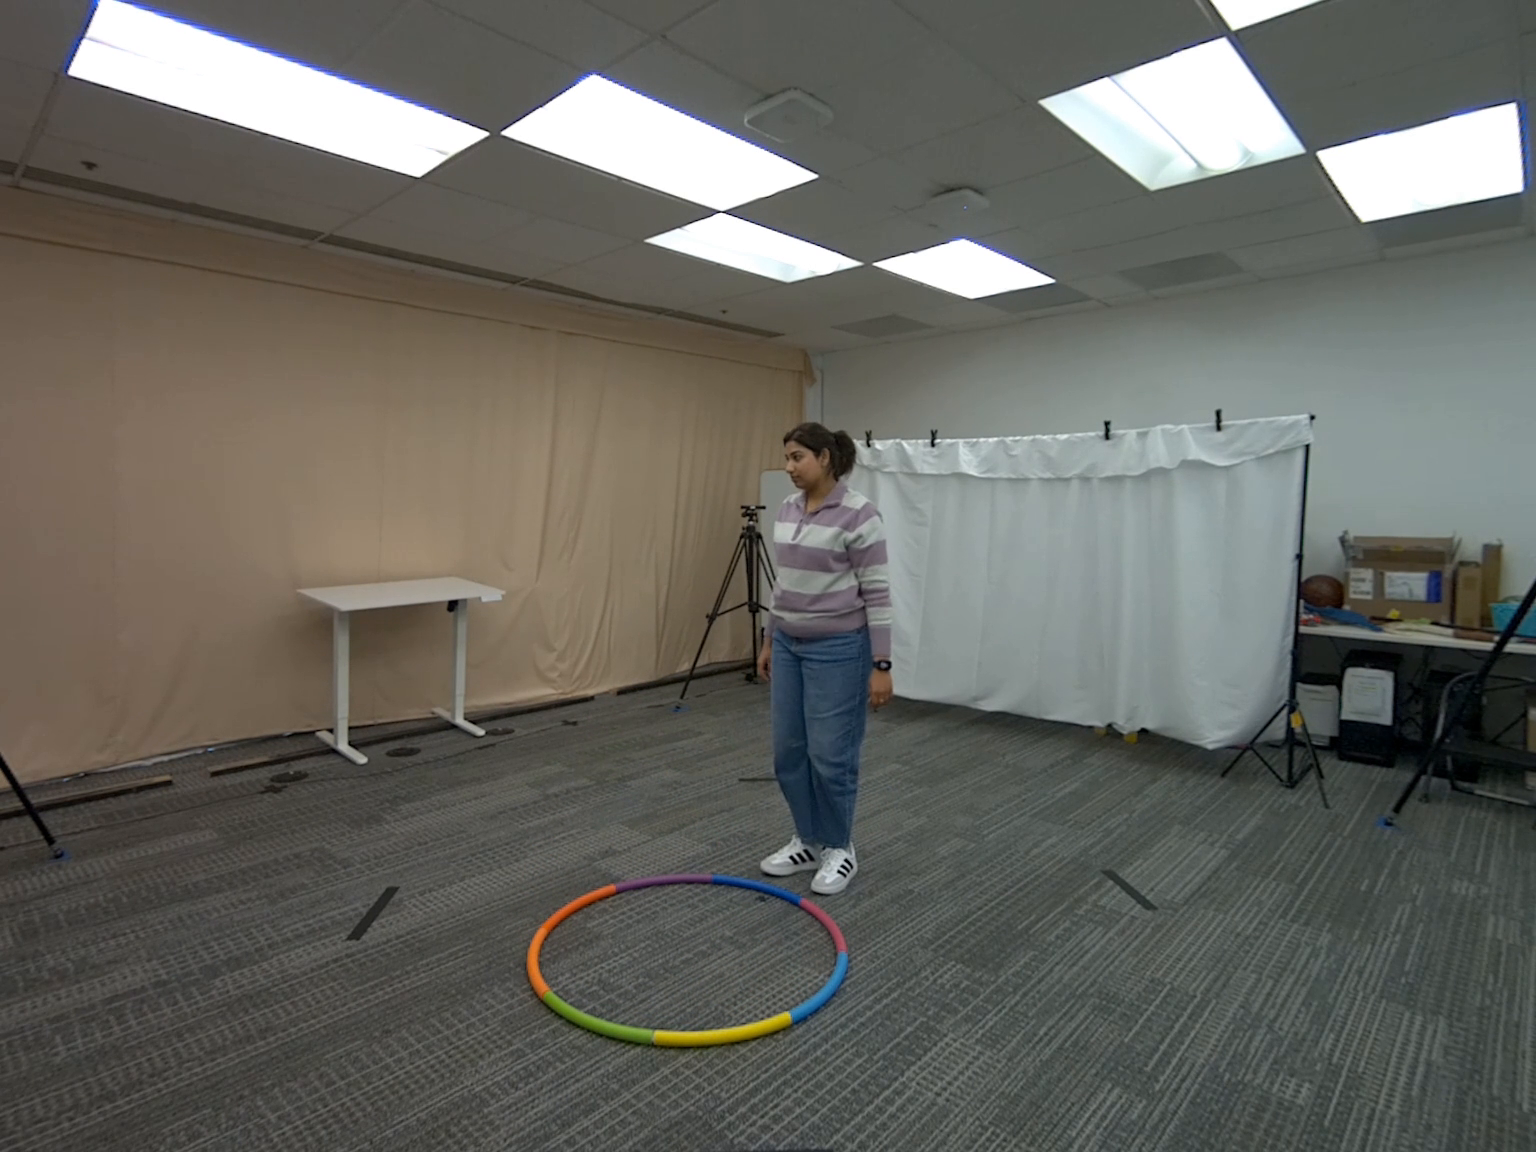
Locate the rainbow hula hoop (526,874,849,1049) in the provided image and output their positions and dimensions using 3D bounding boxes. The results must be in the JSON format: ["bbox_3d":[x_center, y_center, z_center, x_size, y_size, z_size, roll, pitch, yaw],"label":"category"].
[{"bbox_3d":[-0.250,1.145,2.643,0.978,0.035,0.982,0,4,-2],"label":"rainbow hula hoop"}]
